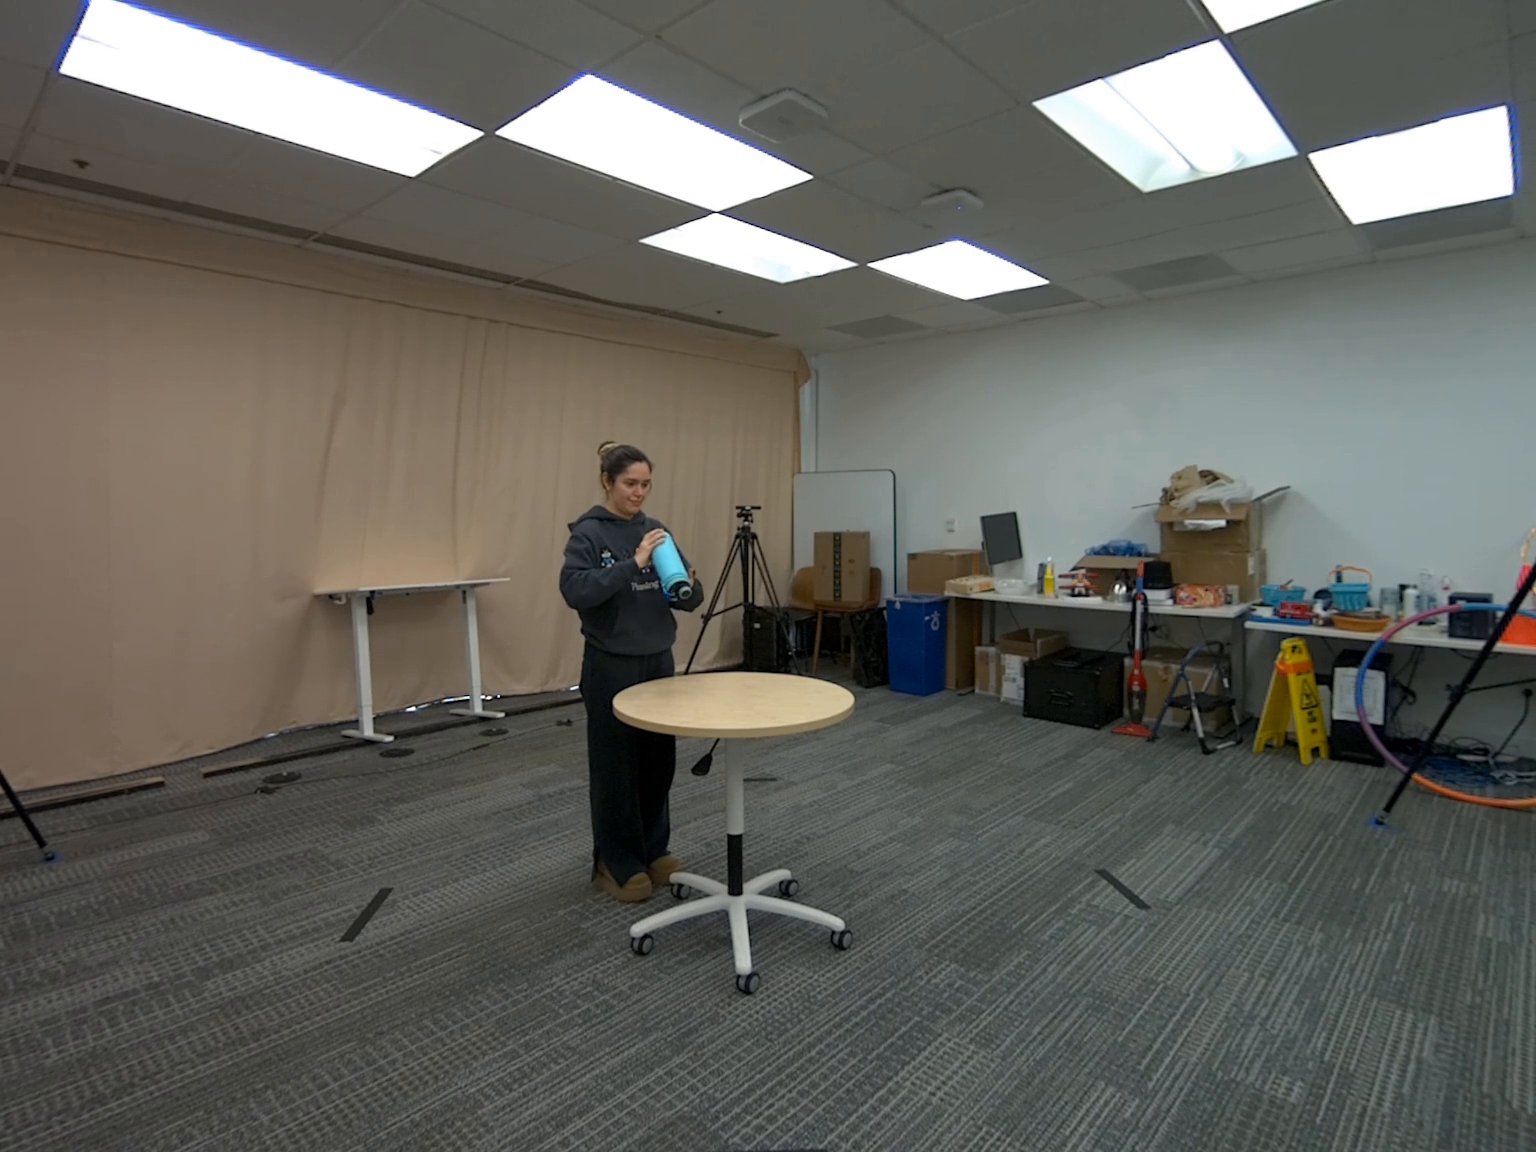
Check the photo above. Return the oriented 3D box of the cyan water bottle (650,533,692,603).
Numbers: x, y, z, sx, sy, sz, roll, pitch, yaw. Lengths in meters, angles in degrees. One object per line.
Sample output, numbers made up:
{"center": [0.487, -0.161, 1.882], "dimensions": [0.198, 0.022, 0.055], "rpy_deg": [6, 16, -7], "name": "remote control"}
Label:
{"center": [-0.313, -0.022, 2.798], "dimensions": [0.090, 0.091, 0.292], "rpy_deg": [-2, 39, -23], "name": "cyan water bottle"}
